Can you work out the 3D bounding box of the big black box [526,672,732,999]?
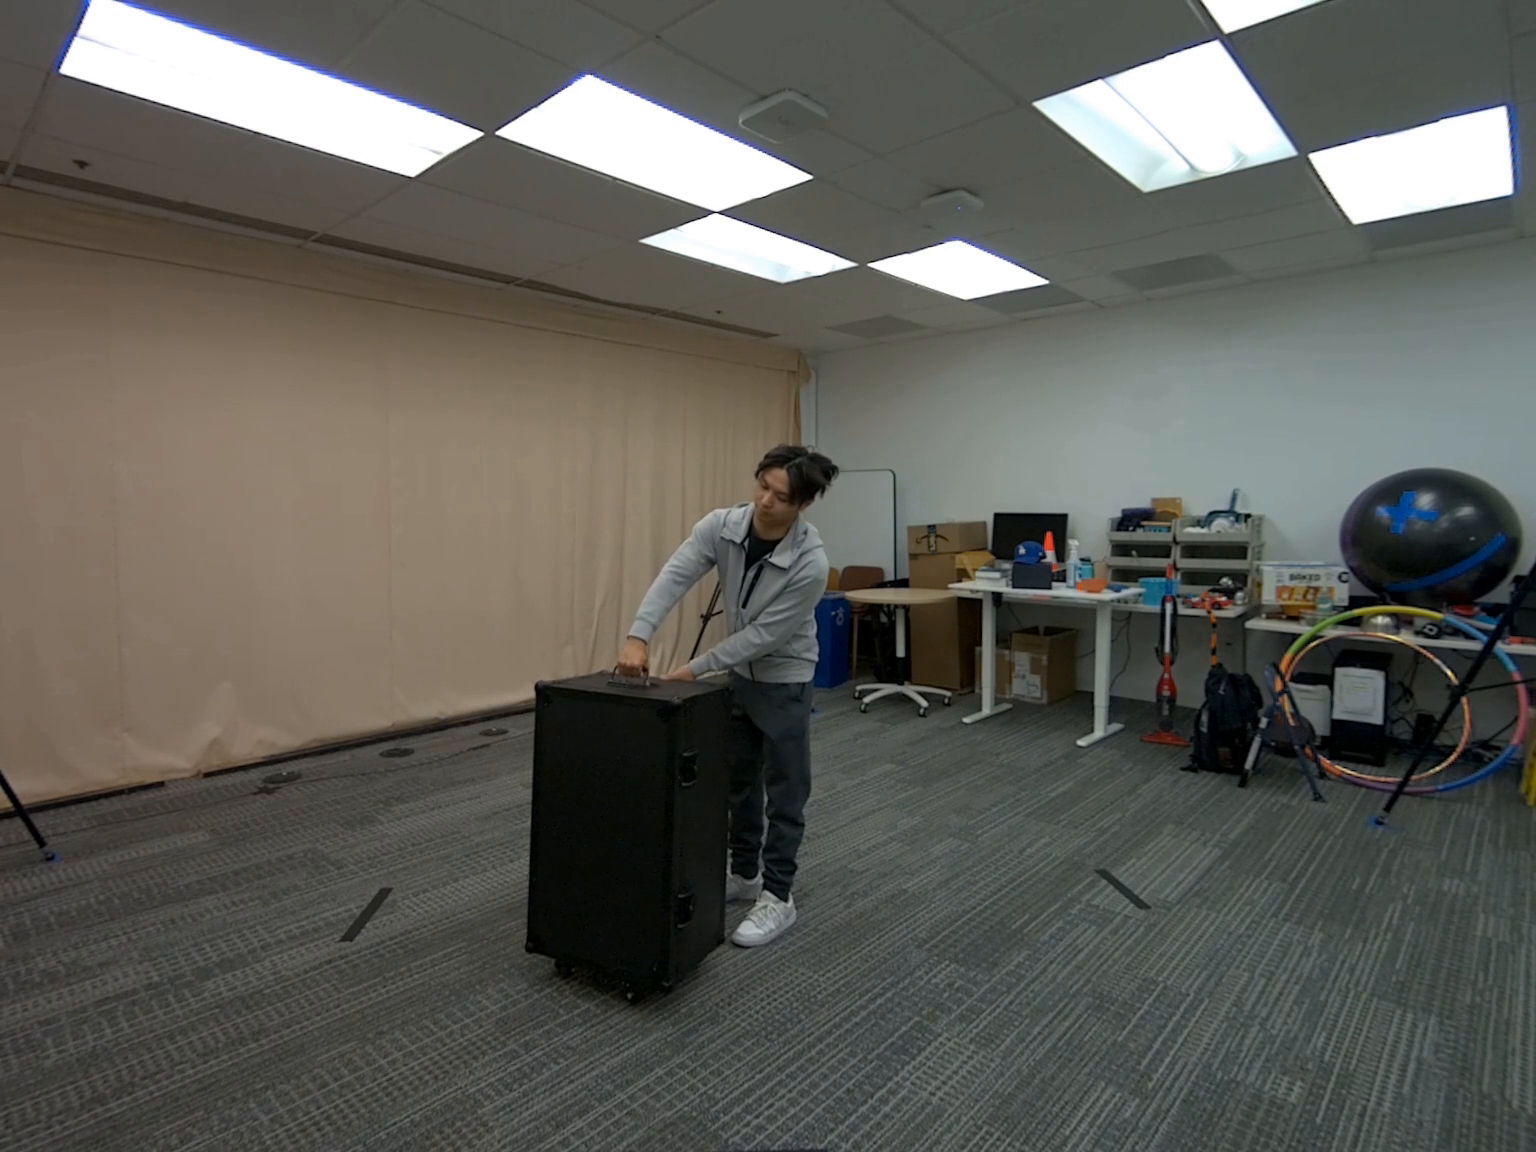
[{"bbox_3d":[-0.403,0.693,2.524,0.535,0.862,0.386,1,-1,25],"label":"big black box"}]
